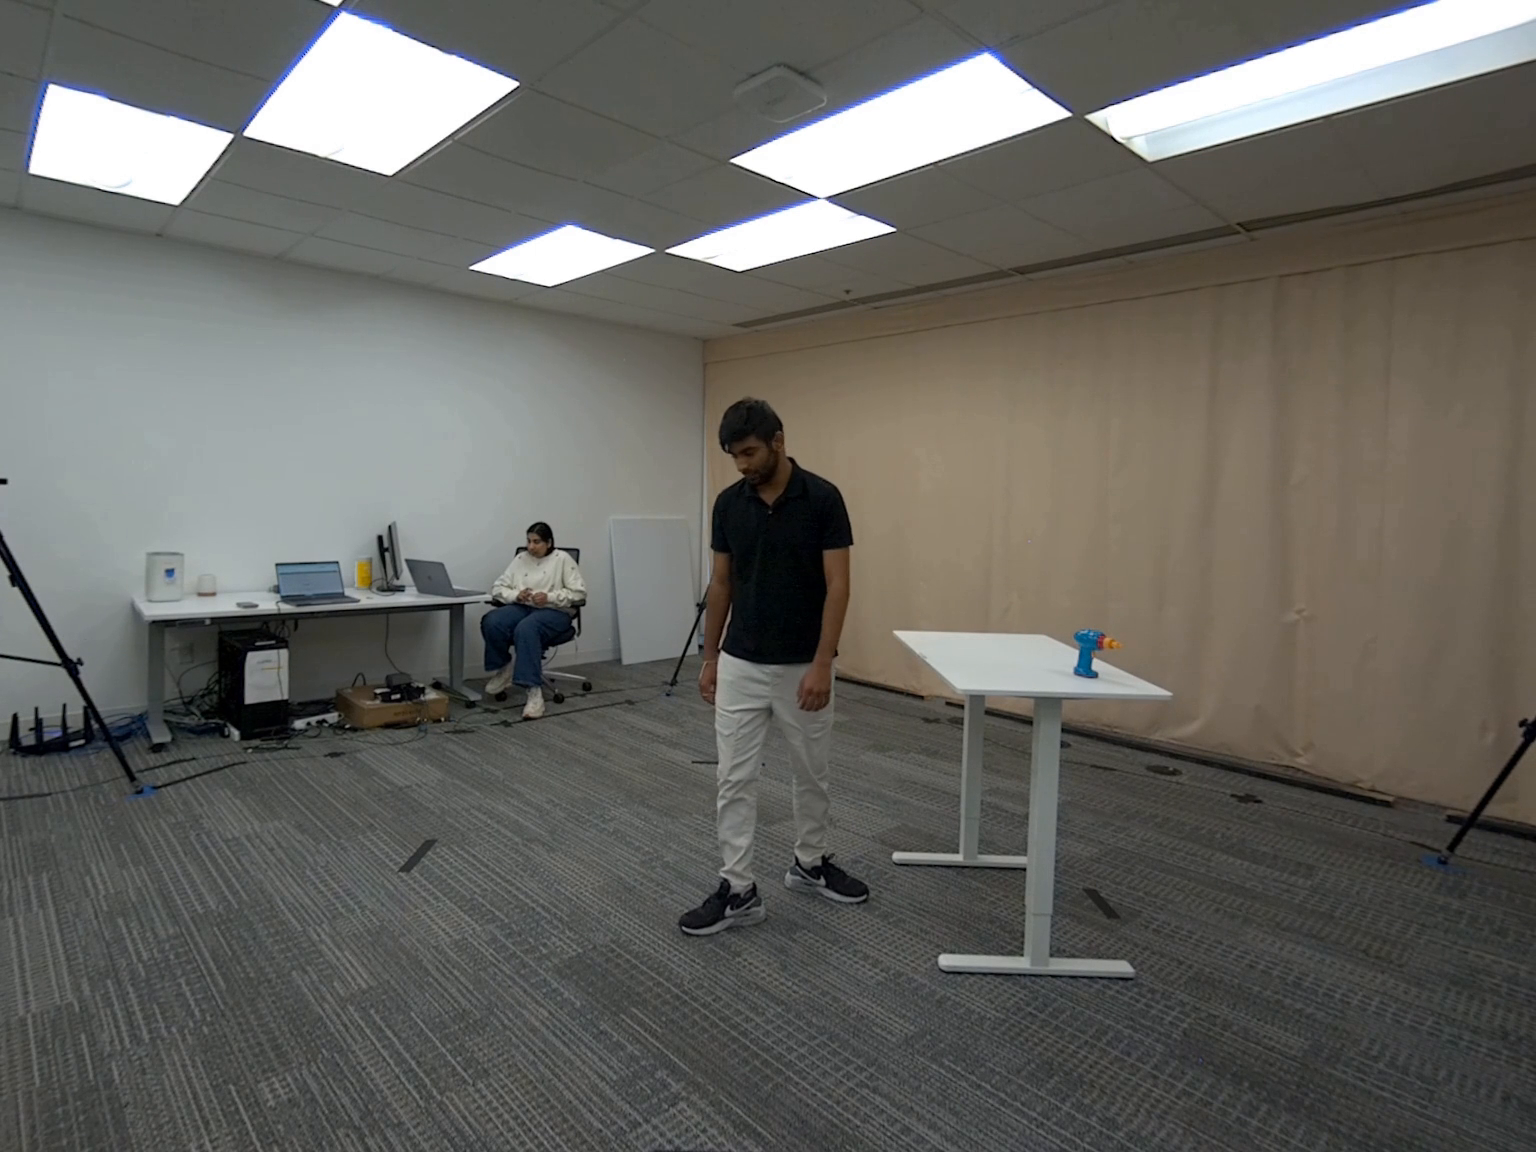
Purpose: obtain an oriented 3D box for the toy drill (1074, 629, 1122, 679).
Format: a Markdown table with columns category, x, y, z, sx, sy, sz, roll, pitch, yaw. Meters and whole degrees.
| category | x | y | z | sx | sy | sz | roll | pitch | yaw |
| --- | --- | --- | --- | --- | --- | --- | --- | --- | --- |
| toy drill | 0.975 | 0.235 | 2.523 | 0.060 | 0.145 | 0.174 | 0 | 6 | -29 |
